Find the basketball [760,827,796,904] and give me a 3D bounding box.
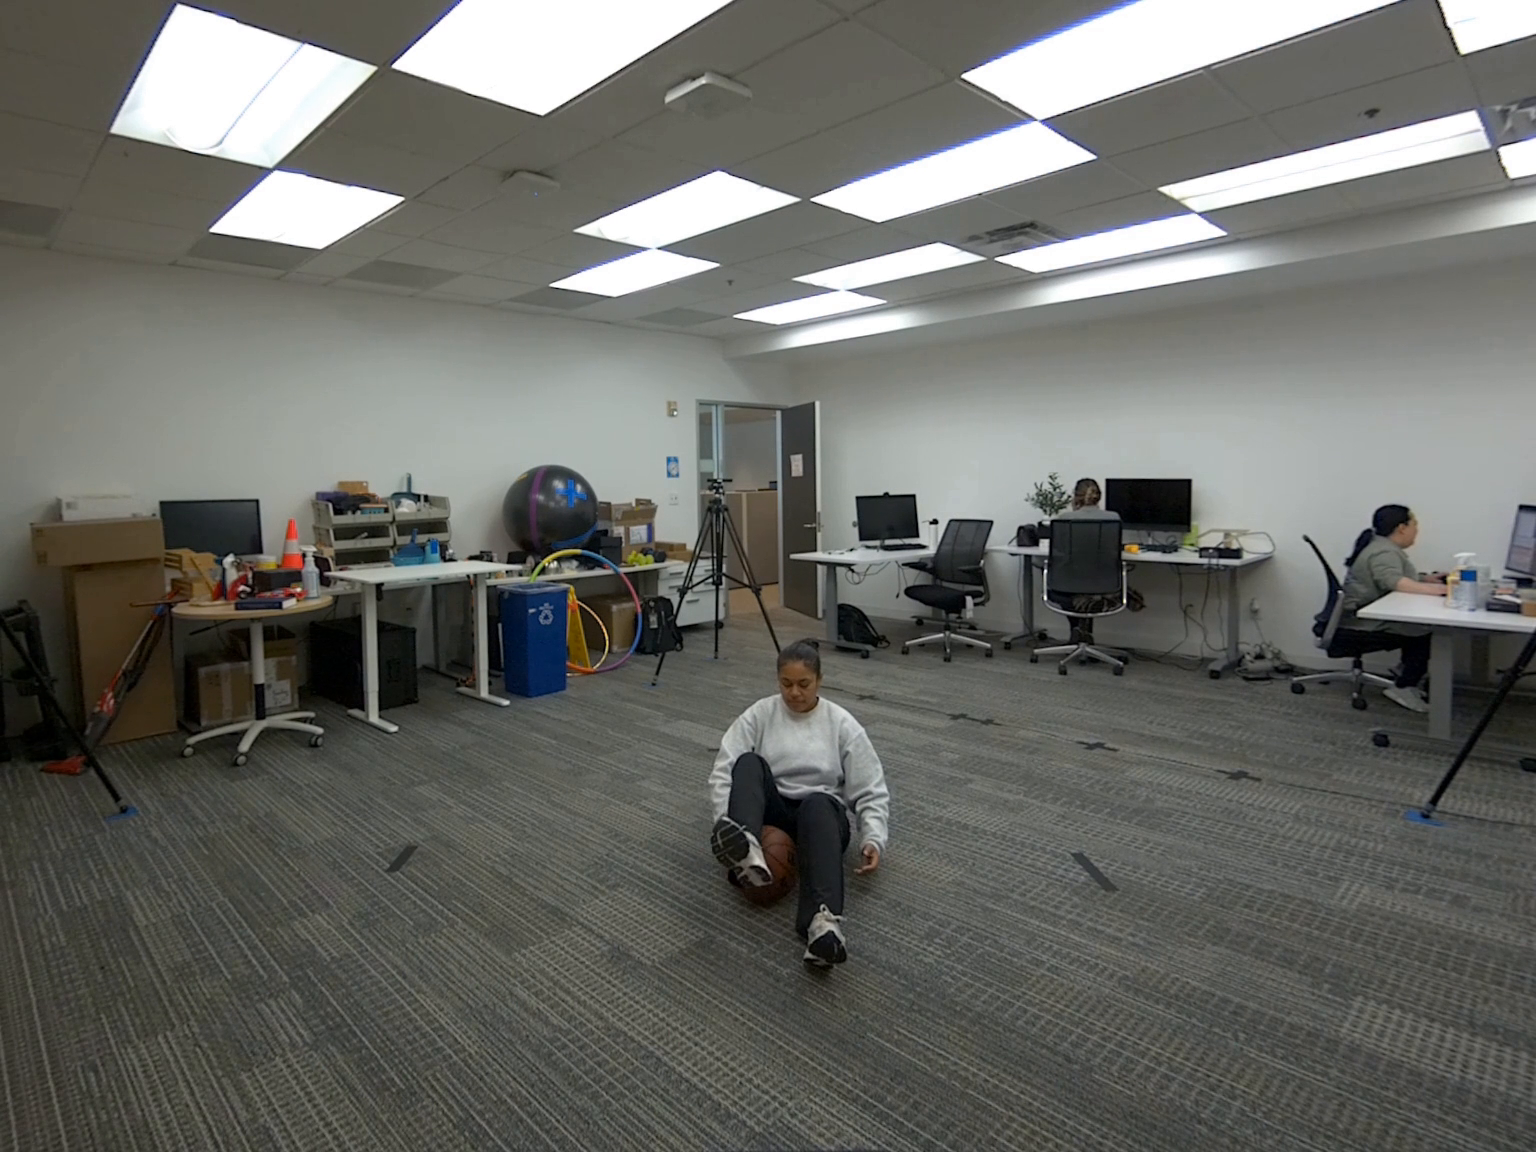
[{"bbox_3d":[-0.026,0.955,2.848,0.236,0.235,0.237,-1,5,-2],"label":"basketball"}]
